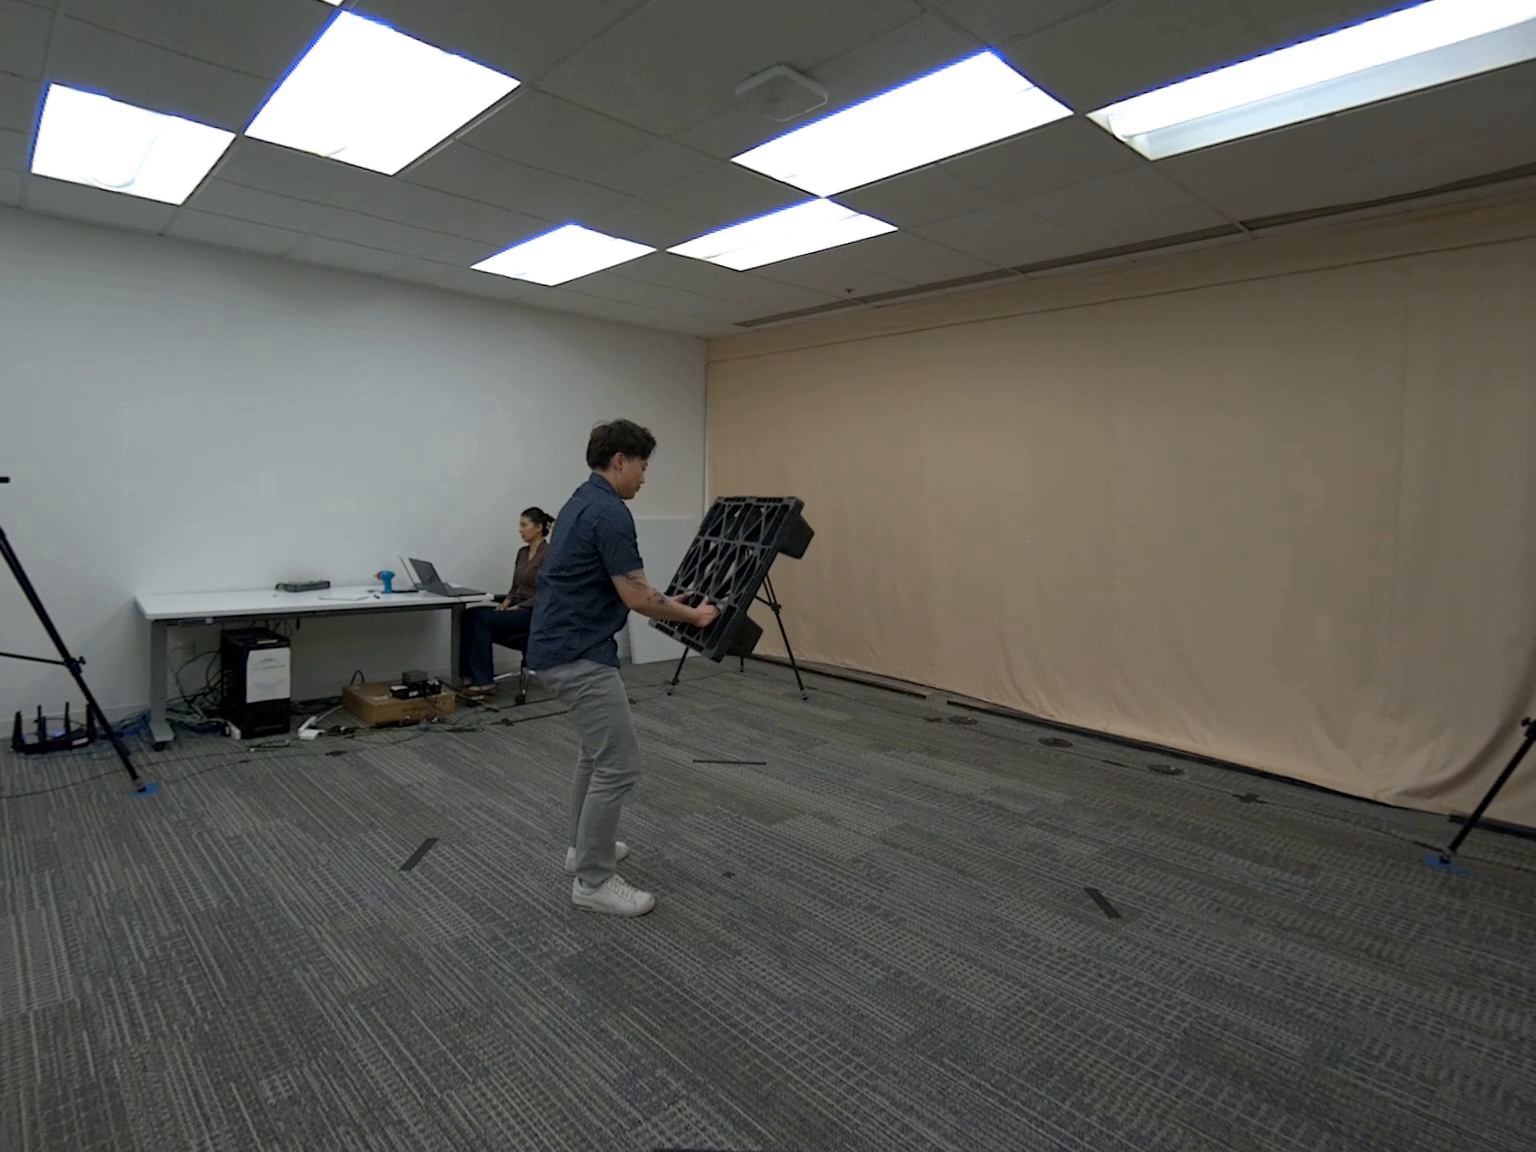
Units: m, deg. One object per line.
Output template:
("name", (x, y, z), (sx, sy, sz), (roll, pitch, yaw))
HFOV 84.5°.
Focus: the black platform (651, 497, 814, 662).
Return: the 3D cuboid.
("black platform", (-0.154, -0.004, 3.099), (0.140, 0.606, 0.820), (31, -7, -21))
